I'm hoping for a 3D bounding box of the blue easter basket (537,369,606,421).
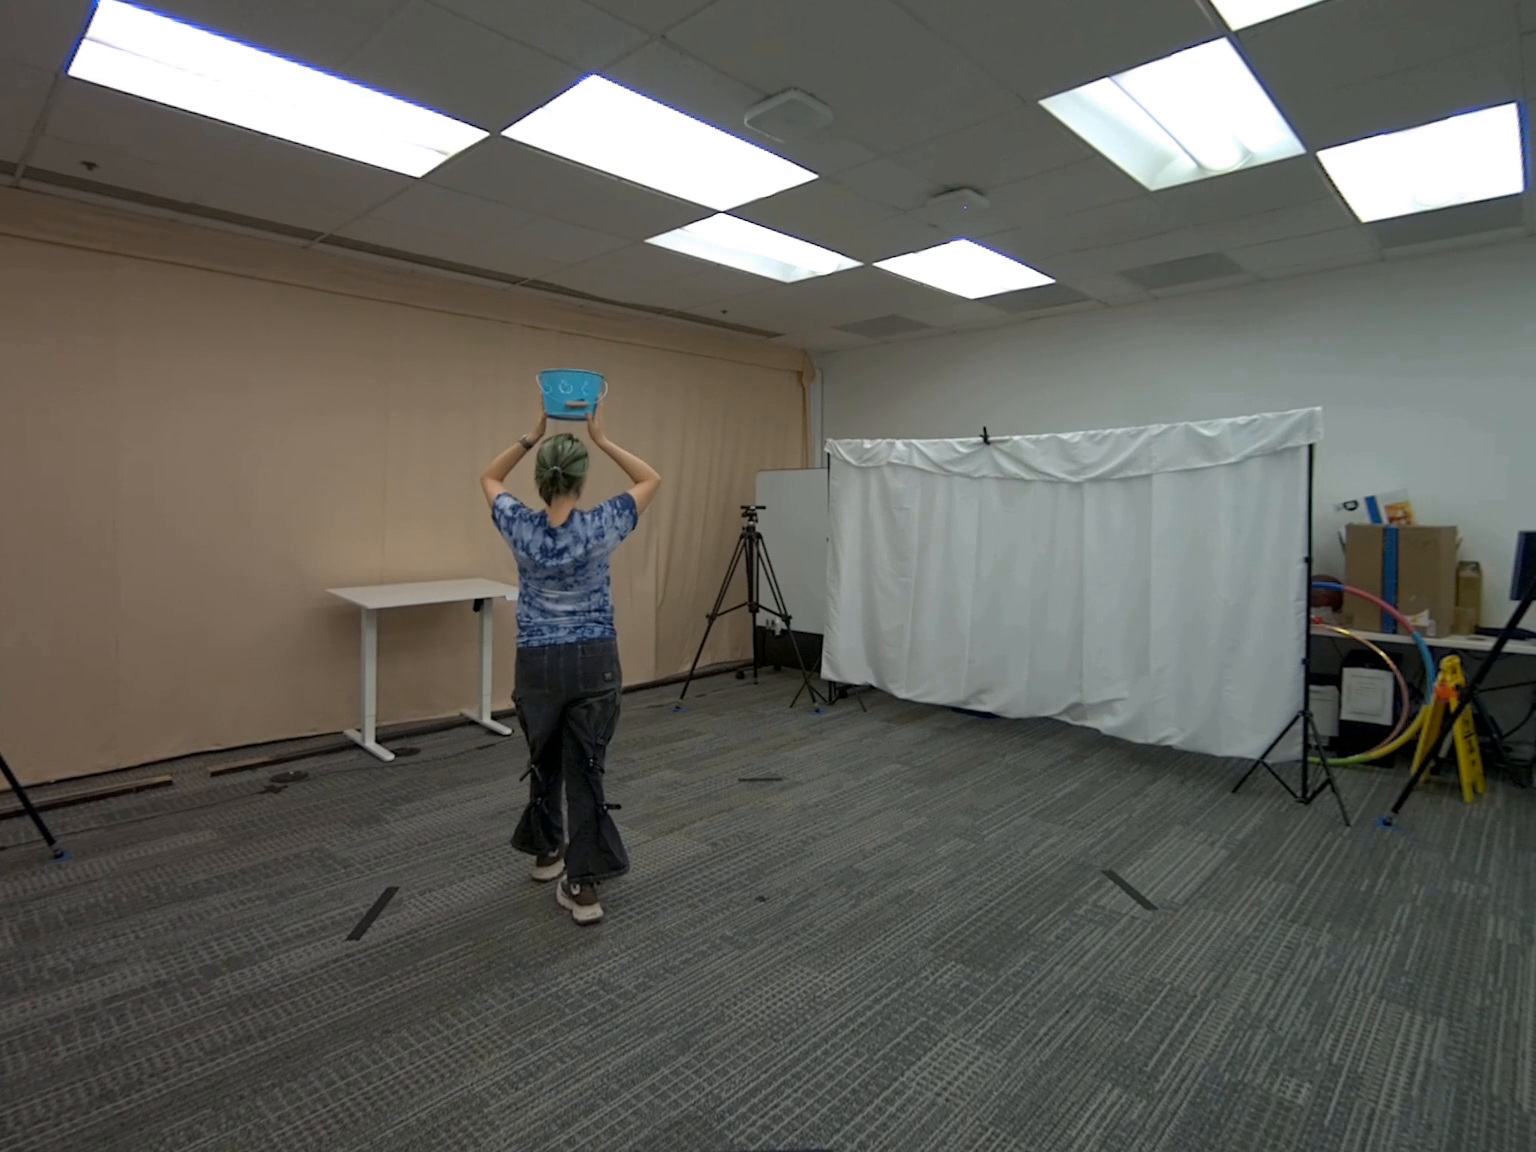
[{"bbox_3d":[-0.714,-0.645,3.001,0.243,0.156,0.244,1,-1,-2],"label":"blue easter basket"}]
